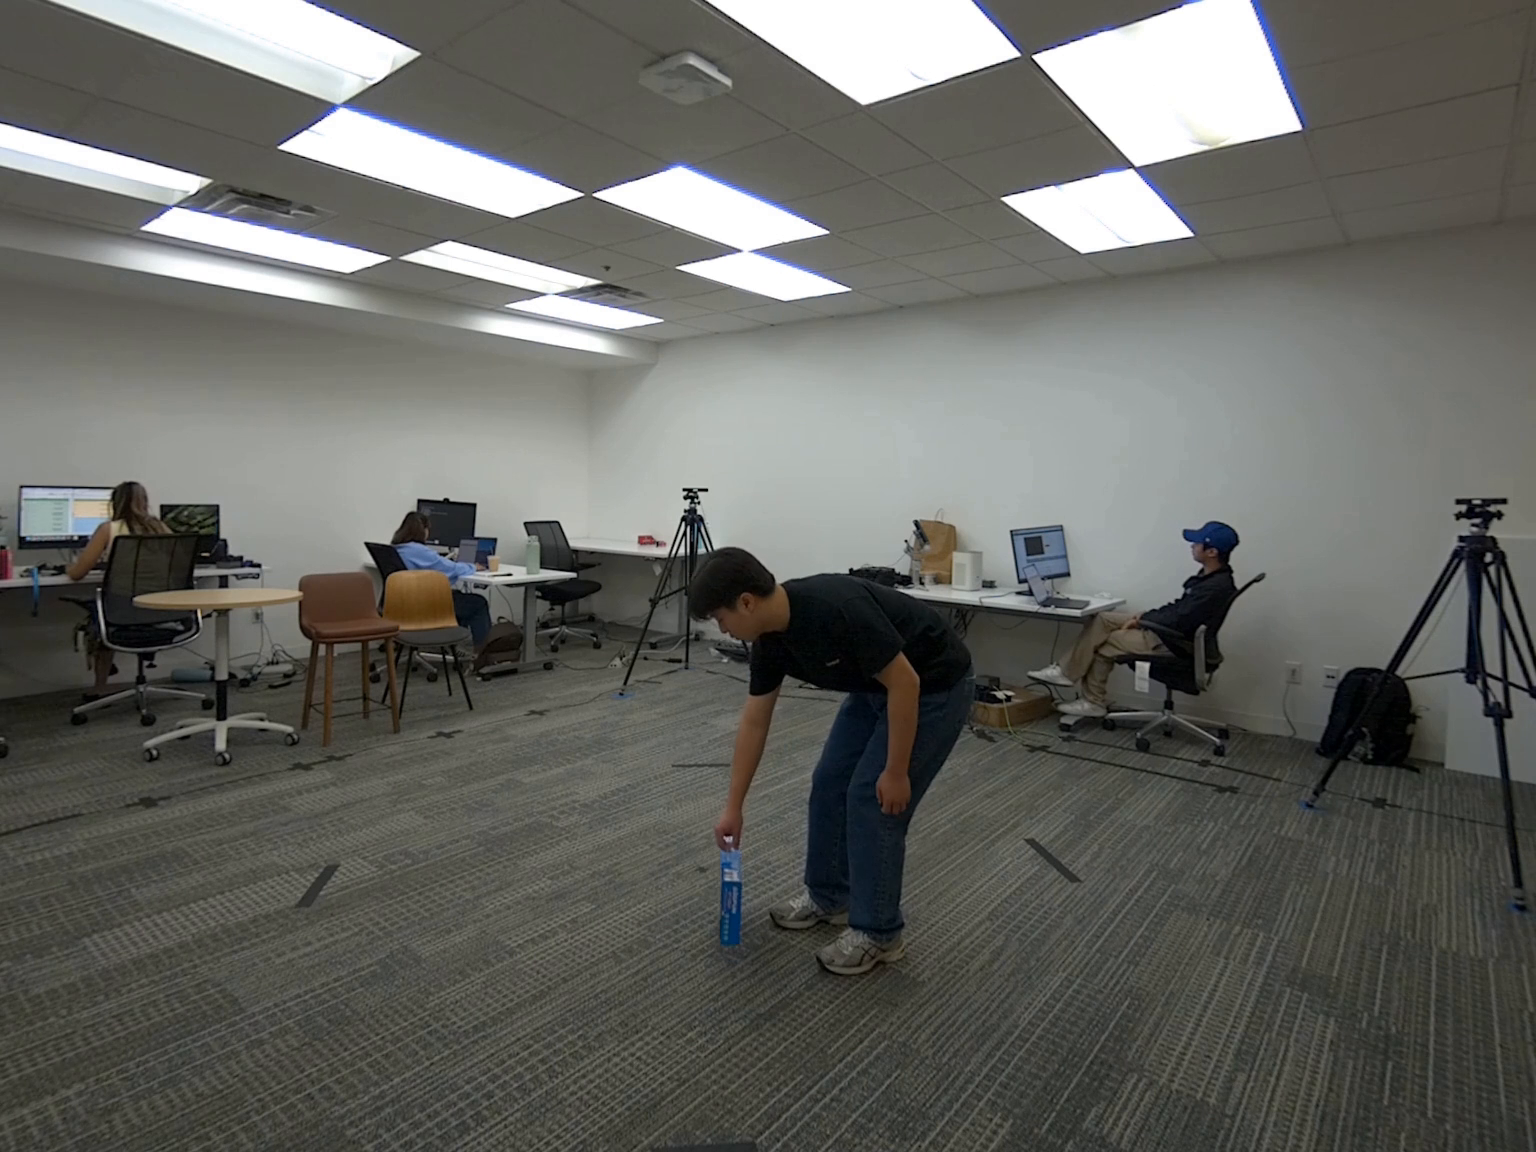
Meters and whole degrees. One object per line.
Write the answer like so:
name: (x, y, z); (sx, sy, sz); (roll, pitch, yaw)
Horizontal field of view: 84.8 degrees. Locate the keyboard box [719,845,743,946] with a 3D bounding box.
keyboard box: (-0.127, 0.937, 2.595); (0.059, 0.176, 0.437); (2, -1, -4)
